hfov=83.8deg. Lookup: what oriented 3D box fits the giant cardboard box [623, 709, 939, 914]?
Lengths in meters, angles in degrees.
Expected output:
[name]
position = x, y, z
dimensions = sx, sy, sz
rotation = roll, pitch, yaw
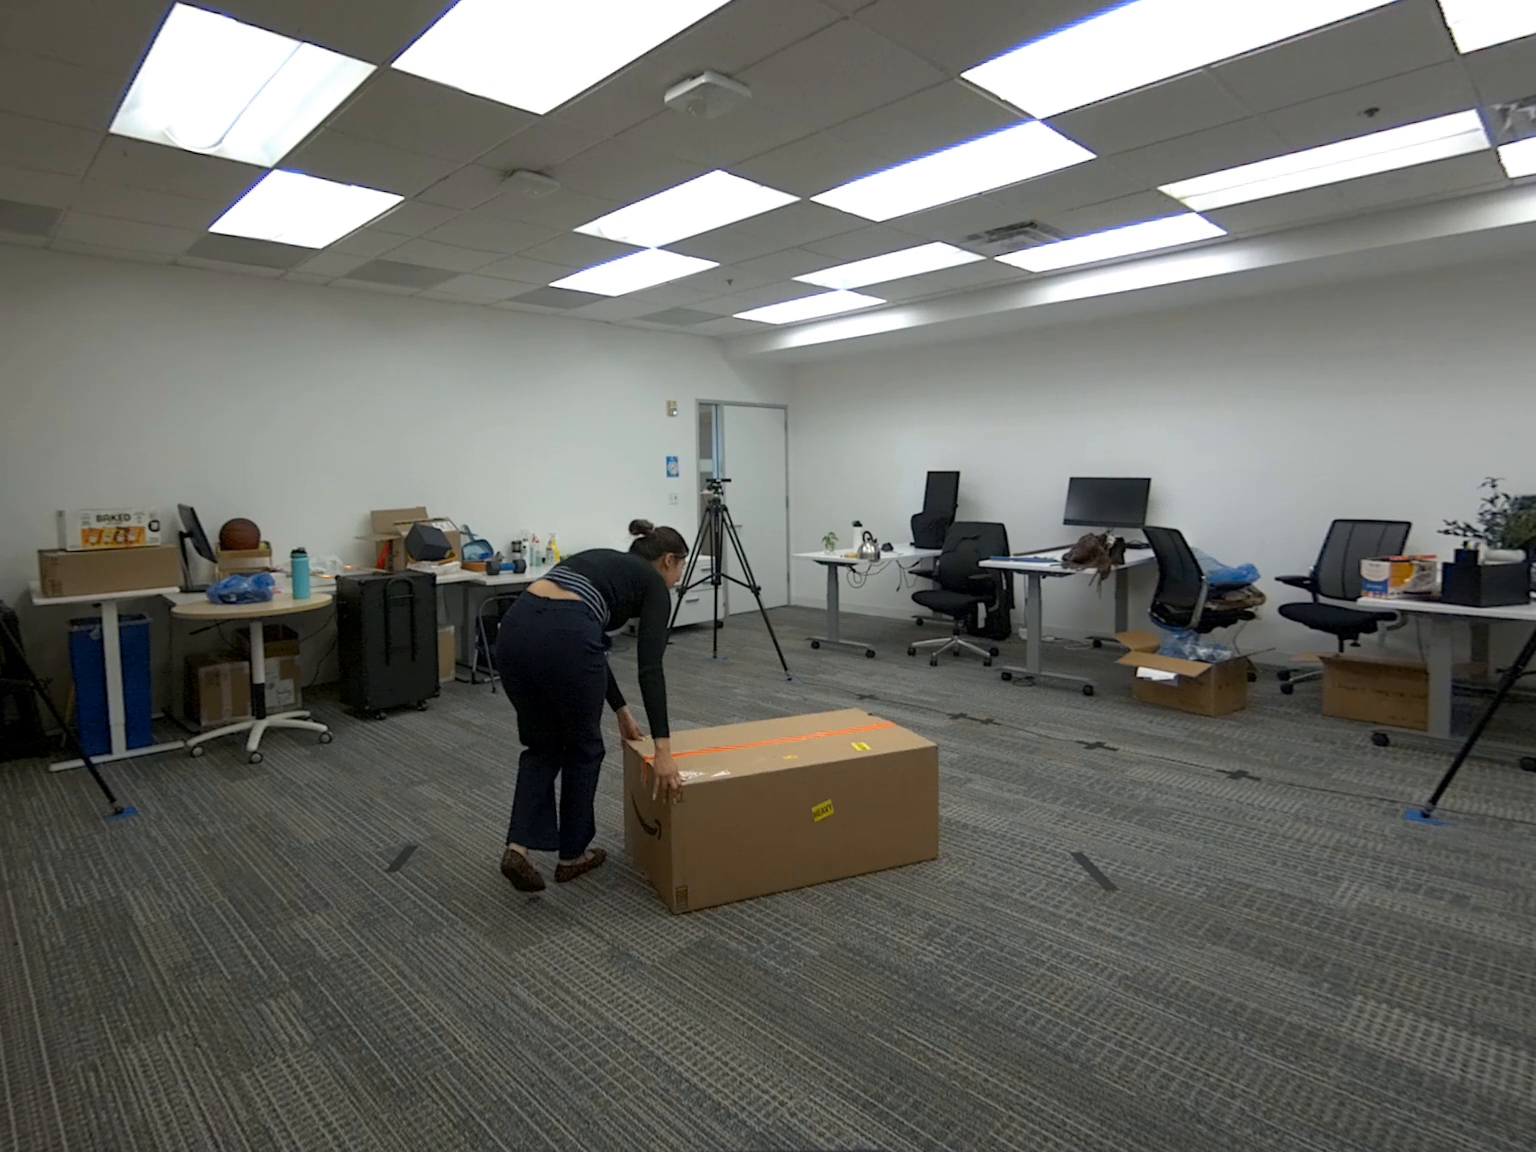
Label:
[giant cardboard box]
position = 0.034, 0.818, 3.174
dimensions = 1.006, 0.424, 0.591
rotation = -4, 6, -23
